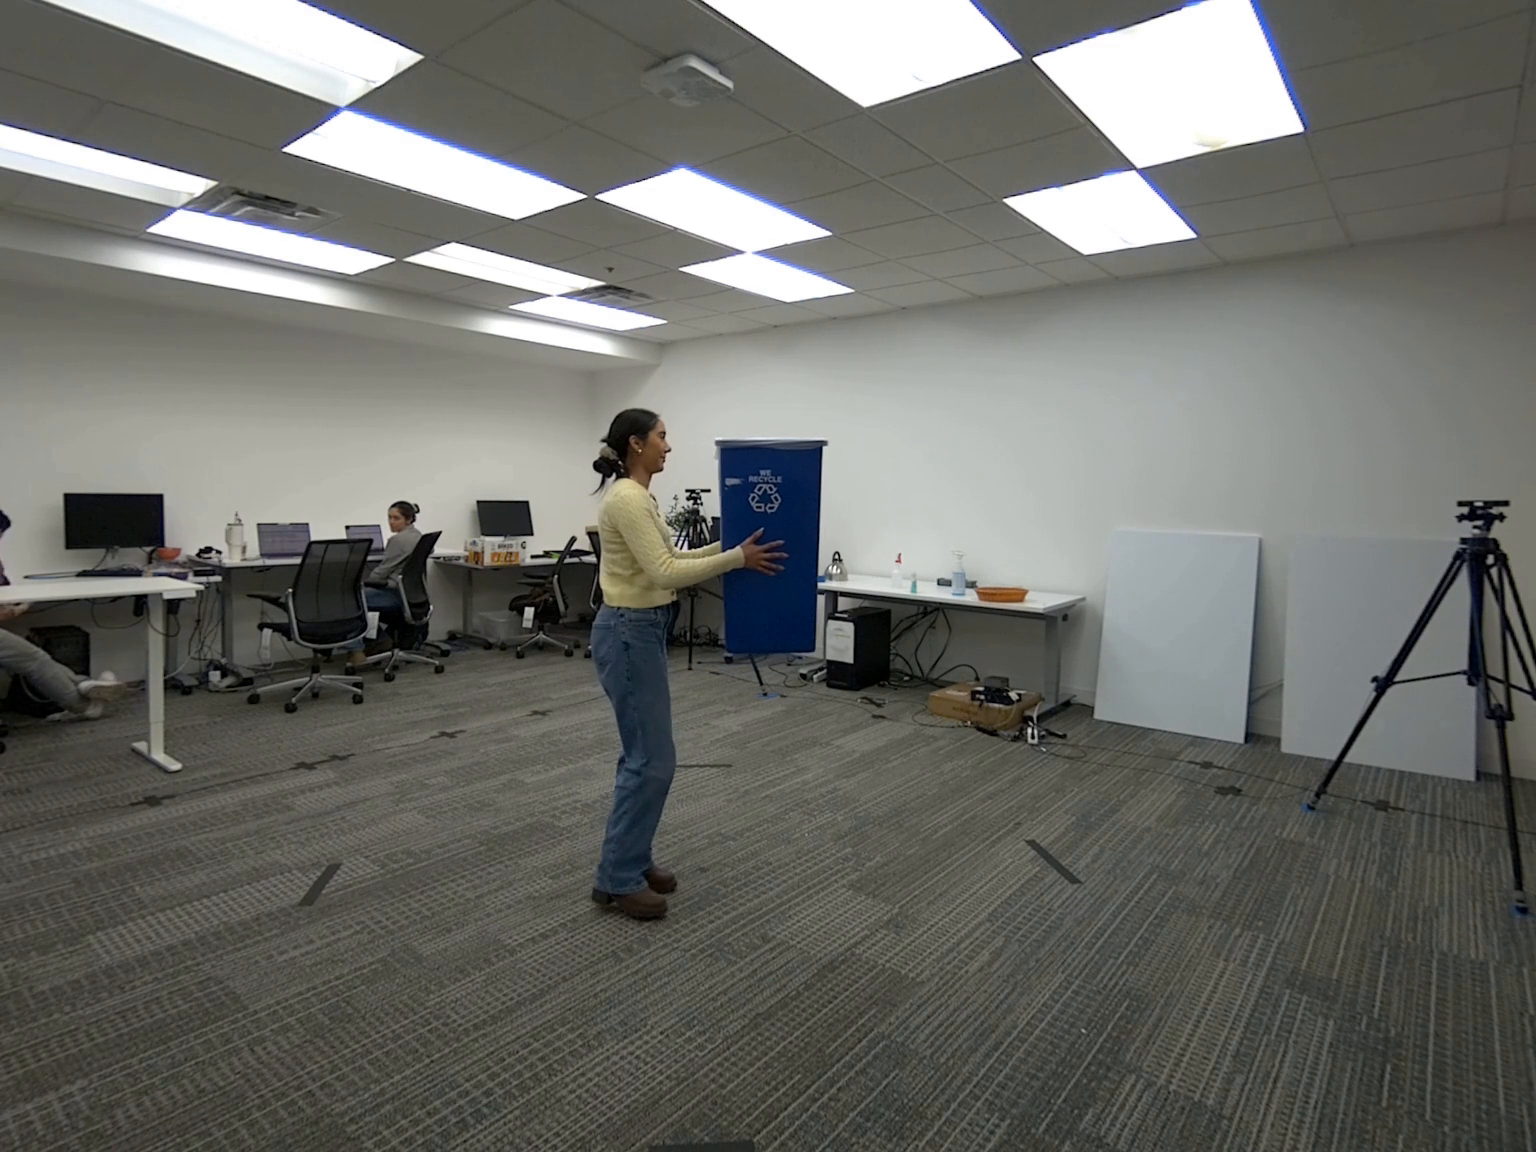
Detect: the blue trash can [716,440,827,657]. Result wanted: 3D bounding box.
[{"bbox_3d":[-0.006,-0.124,2.940,0.374,0.709,0.381,-1,7,-2],"label":"blue trash can"}]
